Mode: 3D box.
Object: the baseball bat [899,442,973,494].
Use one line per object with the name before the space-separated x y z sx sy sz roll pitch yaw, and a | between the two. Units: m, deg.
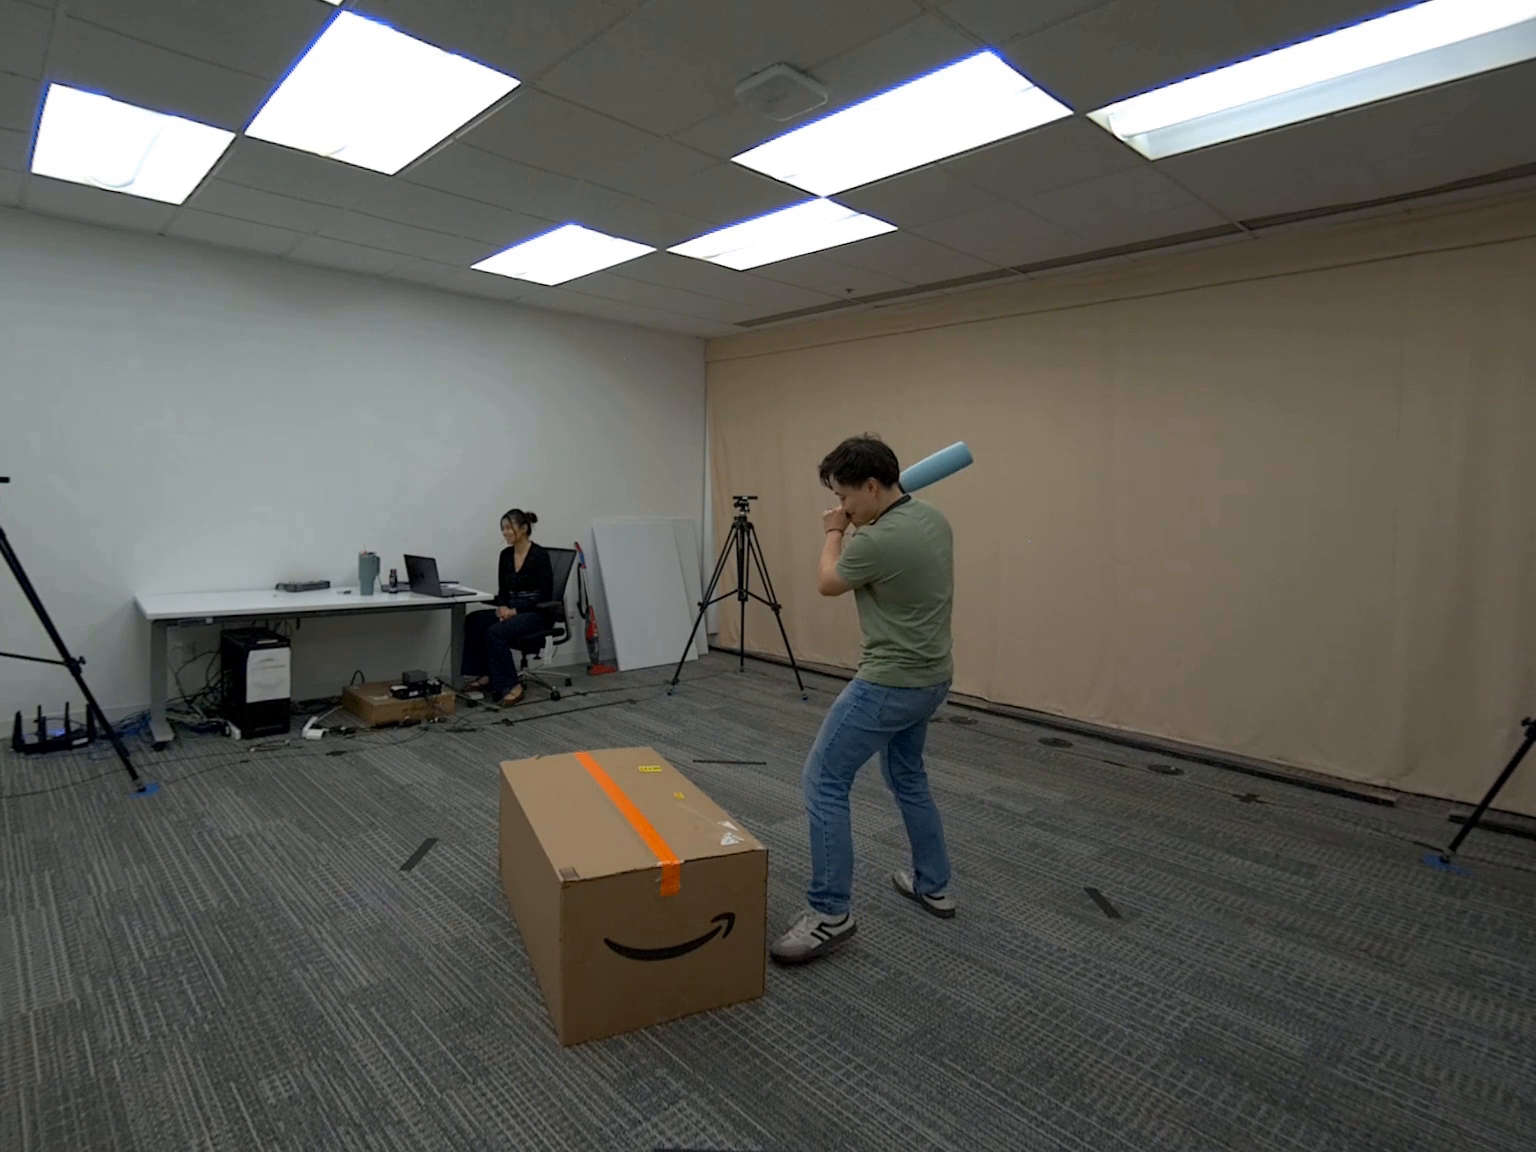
baseball bat | 0.415 -0.300 2.894 0.545 0.089 0.088 -28 -2 13
